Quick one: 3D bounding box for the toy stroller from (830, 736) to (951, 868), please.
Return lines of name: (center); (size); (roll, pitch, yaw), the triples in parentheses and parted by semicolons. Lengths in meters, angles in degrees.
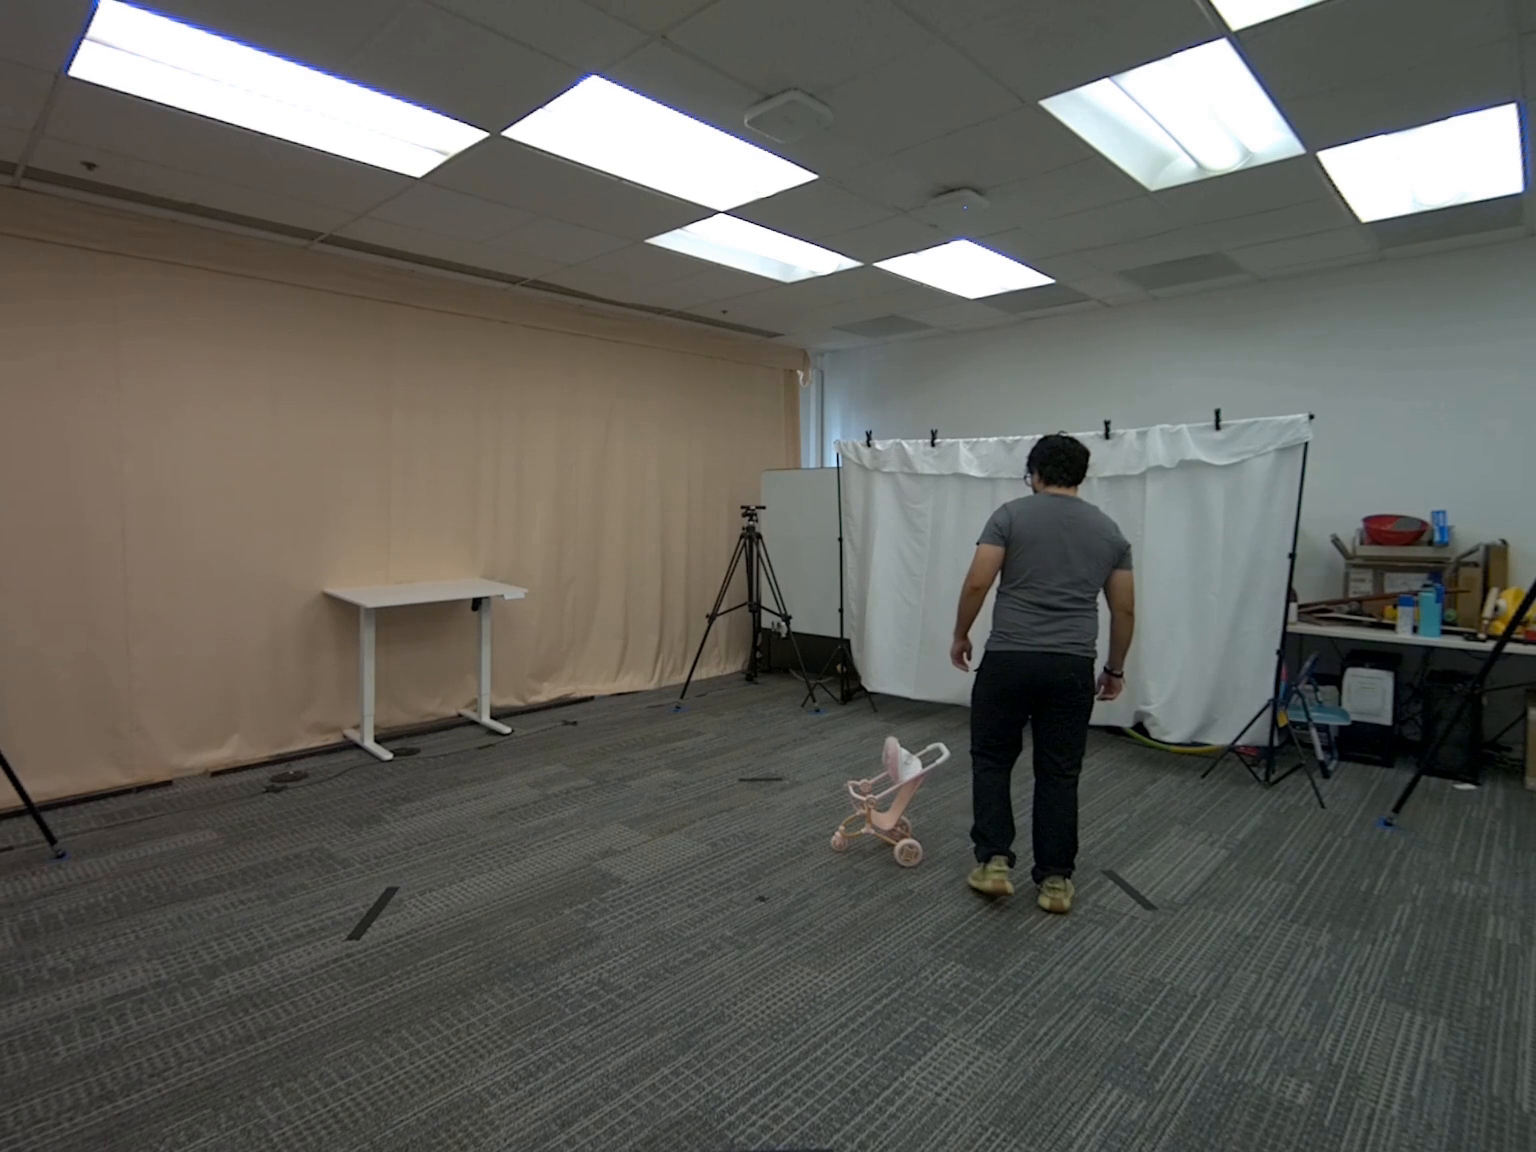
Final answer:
toy stroller: (0.477, 0.886, 3.369); (0.344, 0.534, 0.280); (16, 4, 5)
